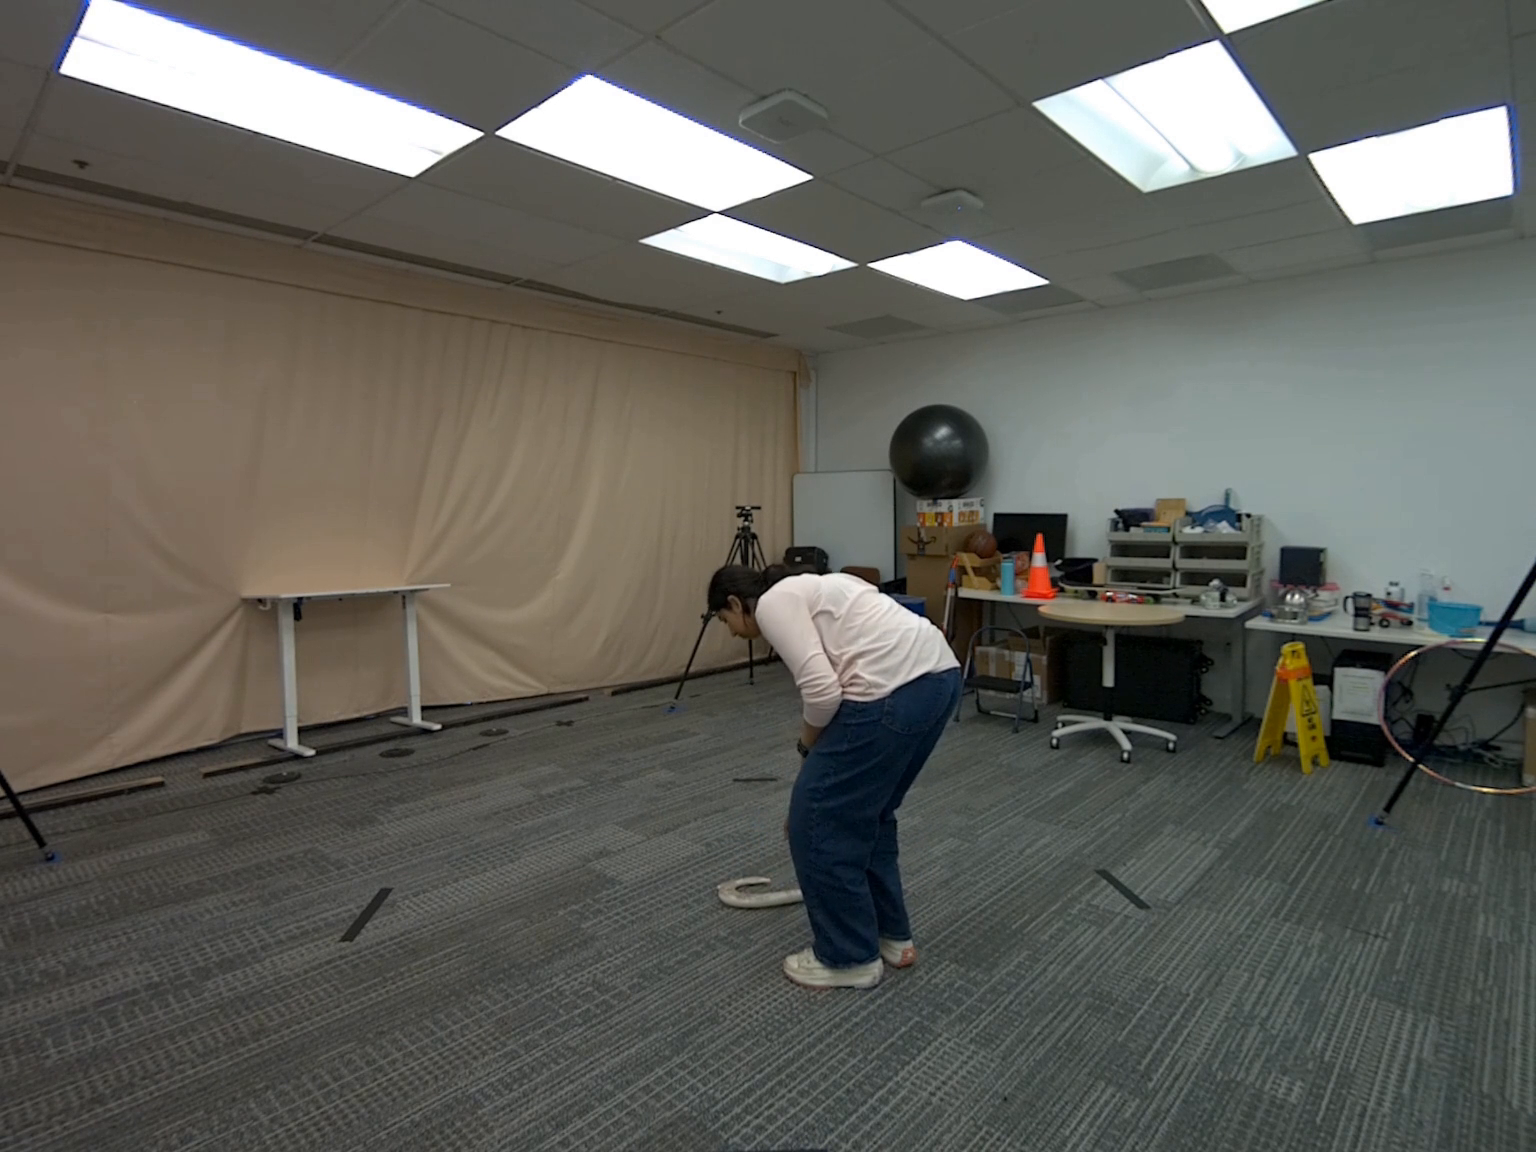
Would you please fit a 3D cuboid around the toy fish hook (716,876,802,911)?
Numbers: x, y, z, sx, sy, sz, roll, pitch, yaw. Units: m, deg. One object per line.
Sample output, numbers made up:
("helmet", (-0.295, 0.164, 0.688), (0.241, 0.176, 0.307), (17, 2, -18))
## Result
("toy fish hook", (0.079, 1.119, 3.008), (0.505, 0.048, 0.226), (0, 6, -3))
